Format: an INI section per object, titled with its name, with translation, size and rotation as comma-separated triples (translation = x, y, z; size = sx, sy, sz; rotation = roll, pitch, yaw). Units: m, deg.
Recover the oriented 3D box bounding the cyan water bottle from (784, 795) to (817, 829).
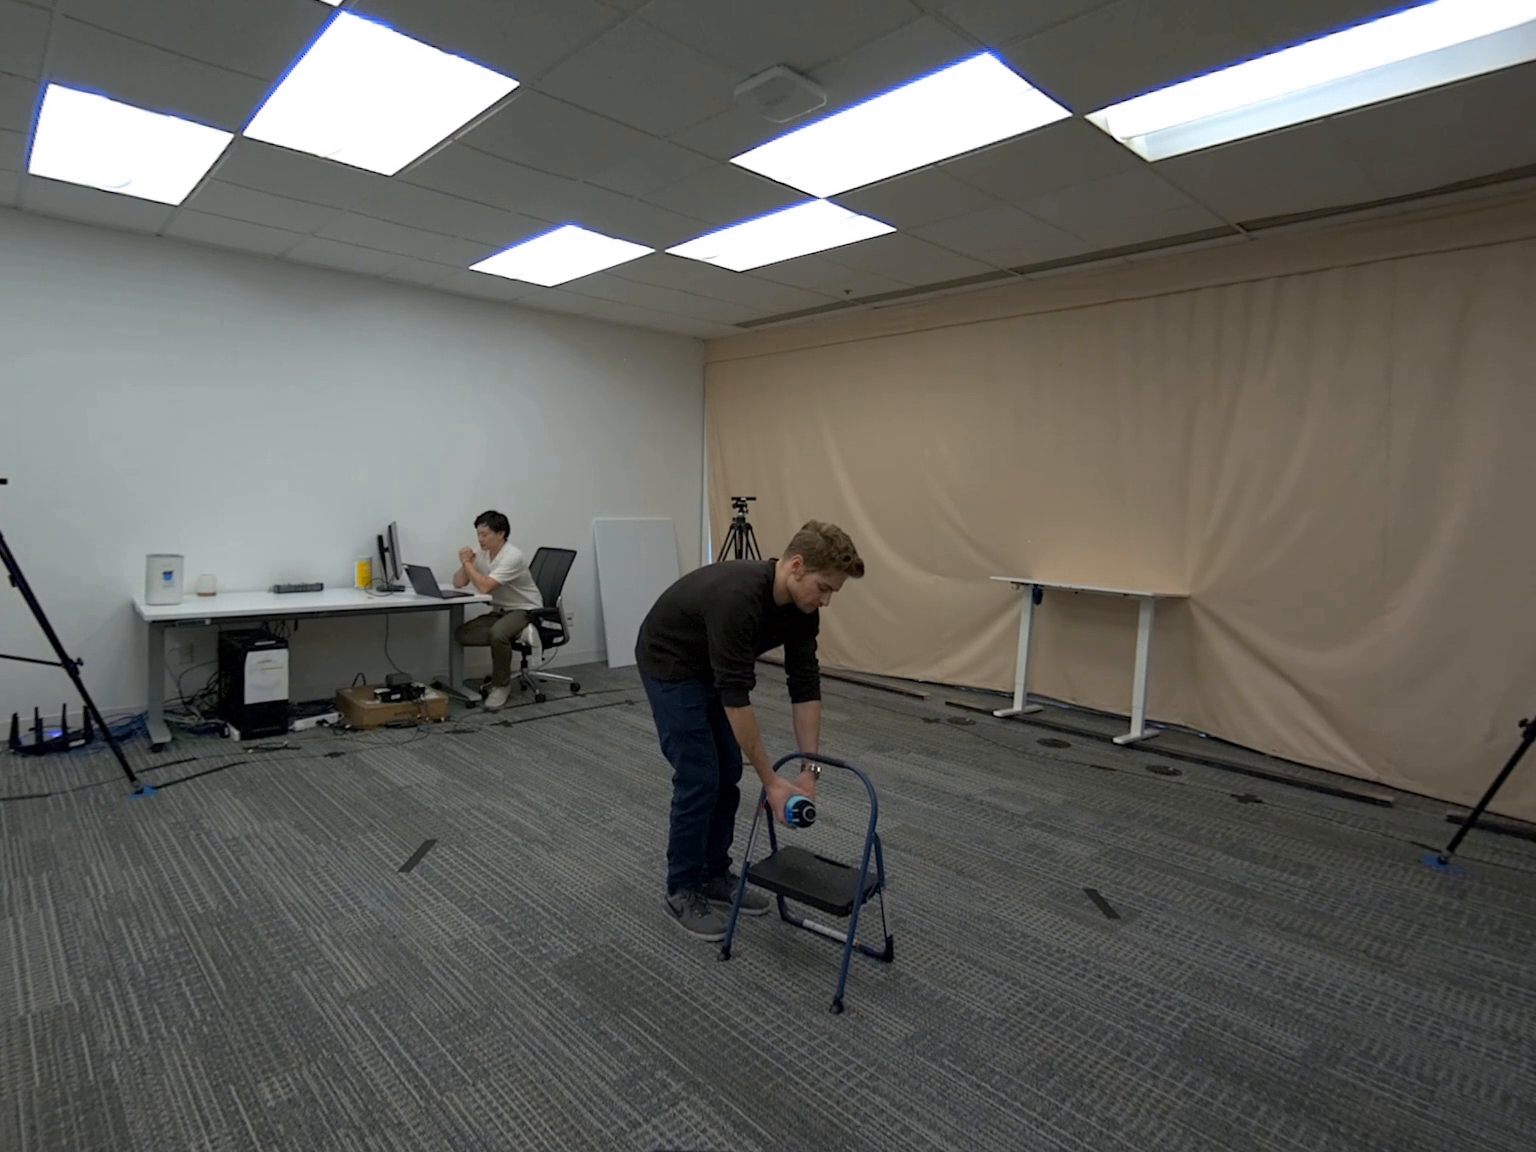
[cyan water bottle]
translation = 0.077, 0.717, 2.537
size = 0.092, 0.093, 0.283
rotation = 1, -10, -10
